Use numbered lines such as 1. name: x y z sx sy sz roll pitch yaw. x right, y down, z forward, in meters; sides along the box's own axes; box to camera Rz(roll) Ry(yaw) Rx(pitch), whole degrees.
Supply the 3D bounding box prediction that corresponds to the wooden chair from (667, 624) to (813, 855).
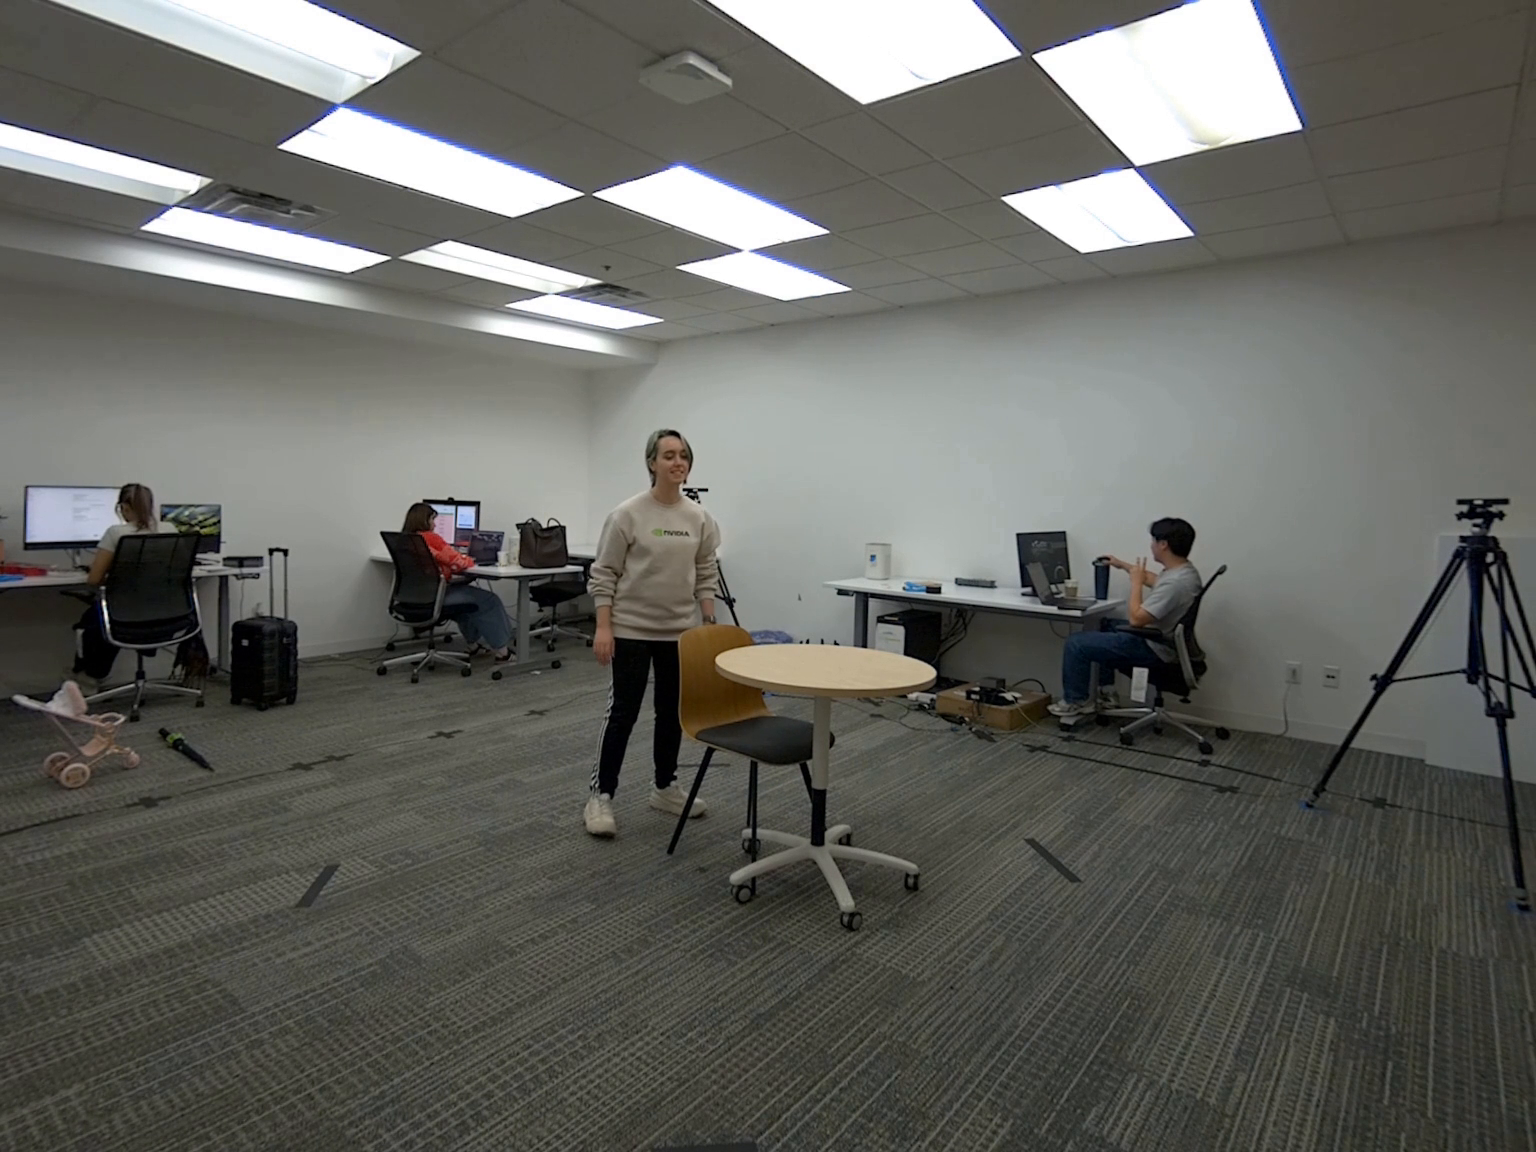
1. wooden chair: -0.057 0.638 3.193 0.539 0.878 0.463 -1 0 44
